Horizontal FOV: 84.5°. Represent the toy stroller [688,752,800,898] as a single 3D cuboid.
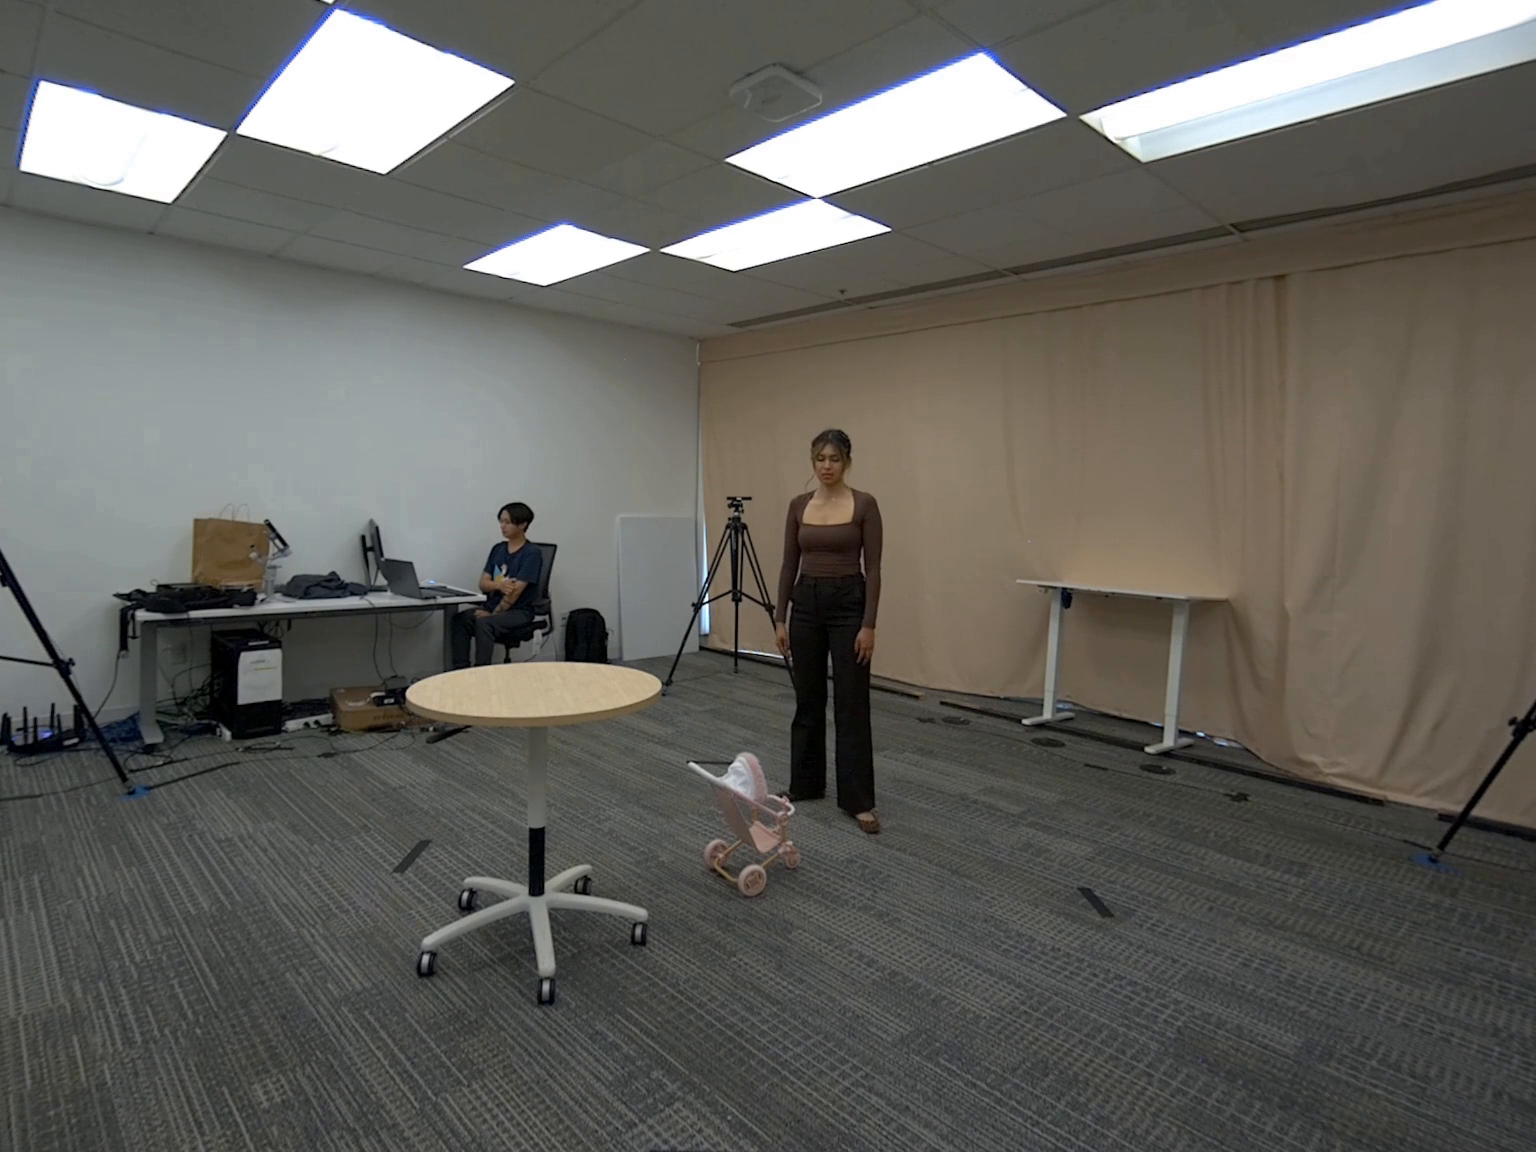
[{"bbox_3d":[-0.070,0.882,3.075,0.337,0.530,0.287,-17,11,-26],"label":"toy stroller"}]
